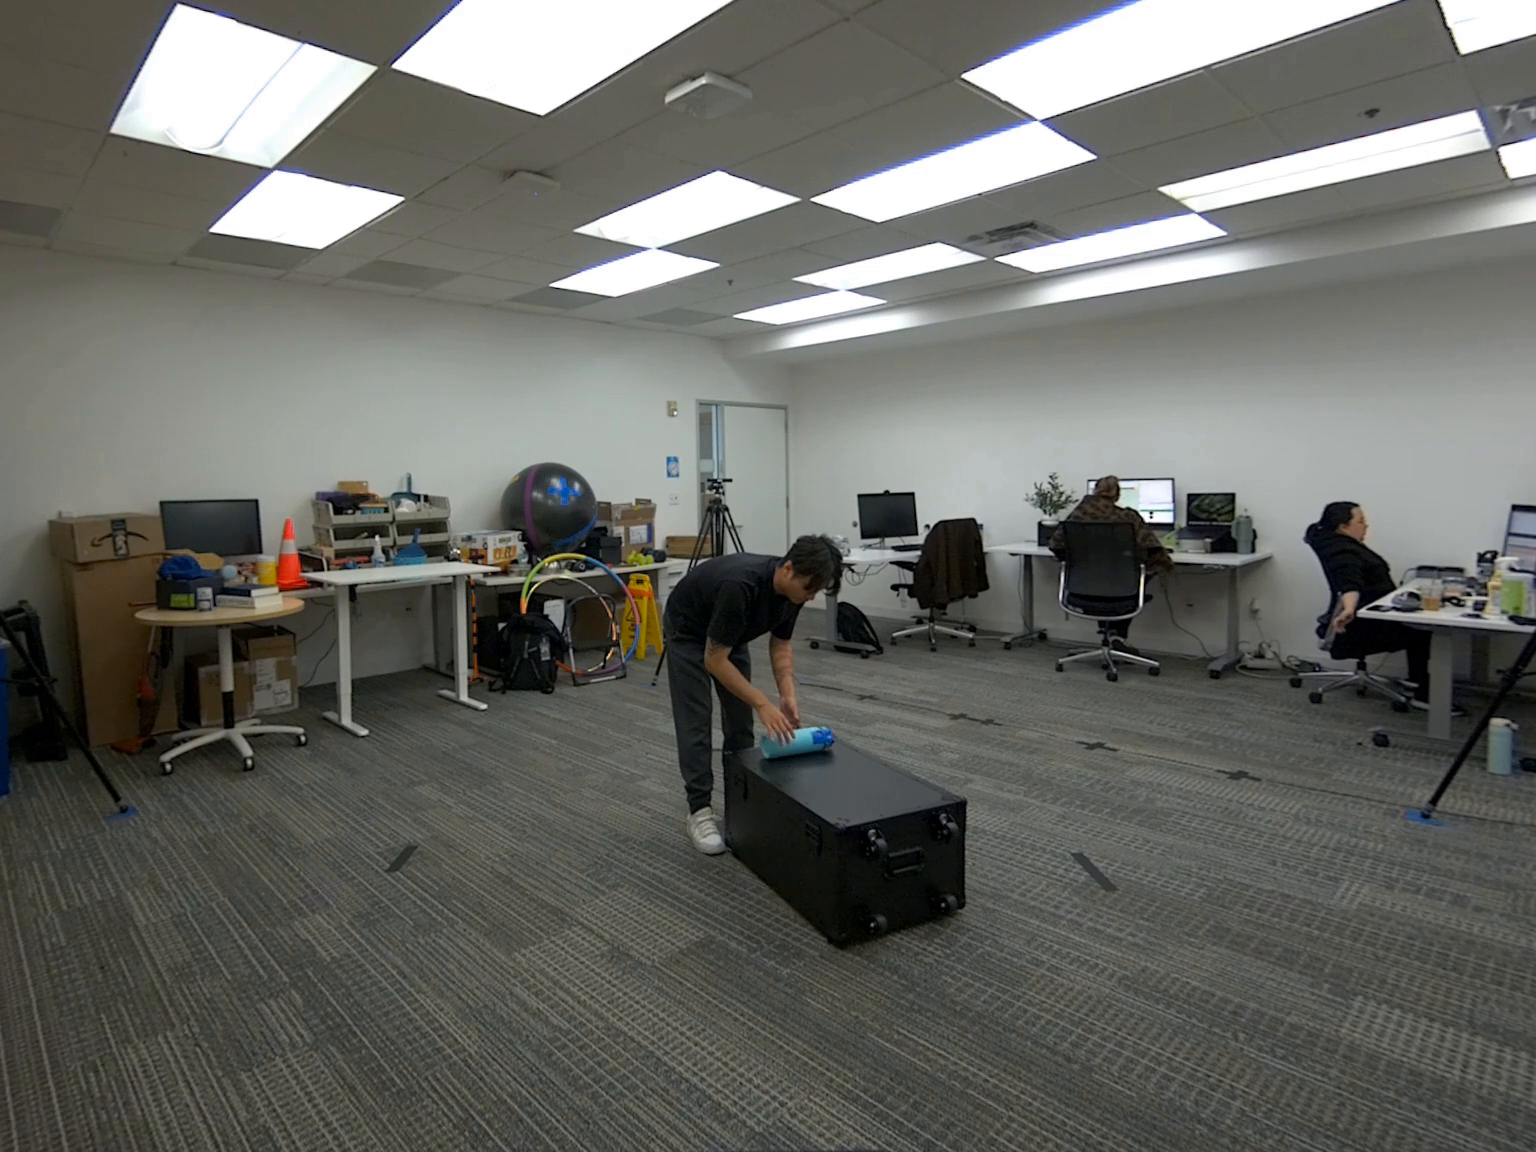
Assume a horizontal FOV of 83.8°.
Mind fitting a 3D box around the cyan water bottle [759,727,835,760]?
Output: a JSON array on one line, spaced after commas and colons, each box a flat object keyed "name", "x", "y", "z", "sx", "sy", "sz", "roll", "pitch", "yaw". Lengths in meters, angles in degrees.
[{"name": "cyan water bottle", "x": 0.118, "y": 0.610, "z": 3.172, "sx": 0.278, "sy": 0.092, "sz": 0.094, "roll": -3, "pitch": 5, "yaw": -22}]
